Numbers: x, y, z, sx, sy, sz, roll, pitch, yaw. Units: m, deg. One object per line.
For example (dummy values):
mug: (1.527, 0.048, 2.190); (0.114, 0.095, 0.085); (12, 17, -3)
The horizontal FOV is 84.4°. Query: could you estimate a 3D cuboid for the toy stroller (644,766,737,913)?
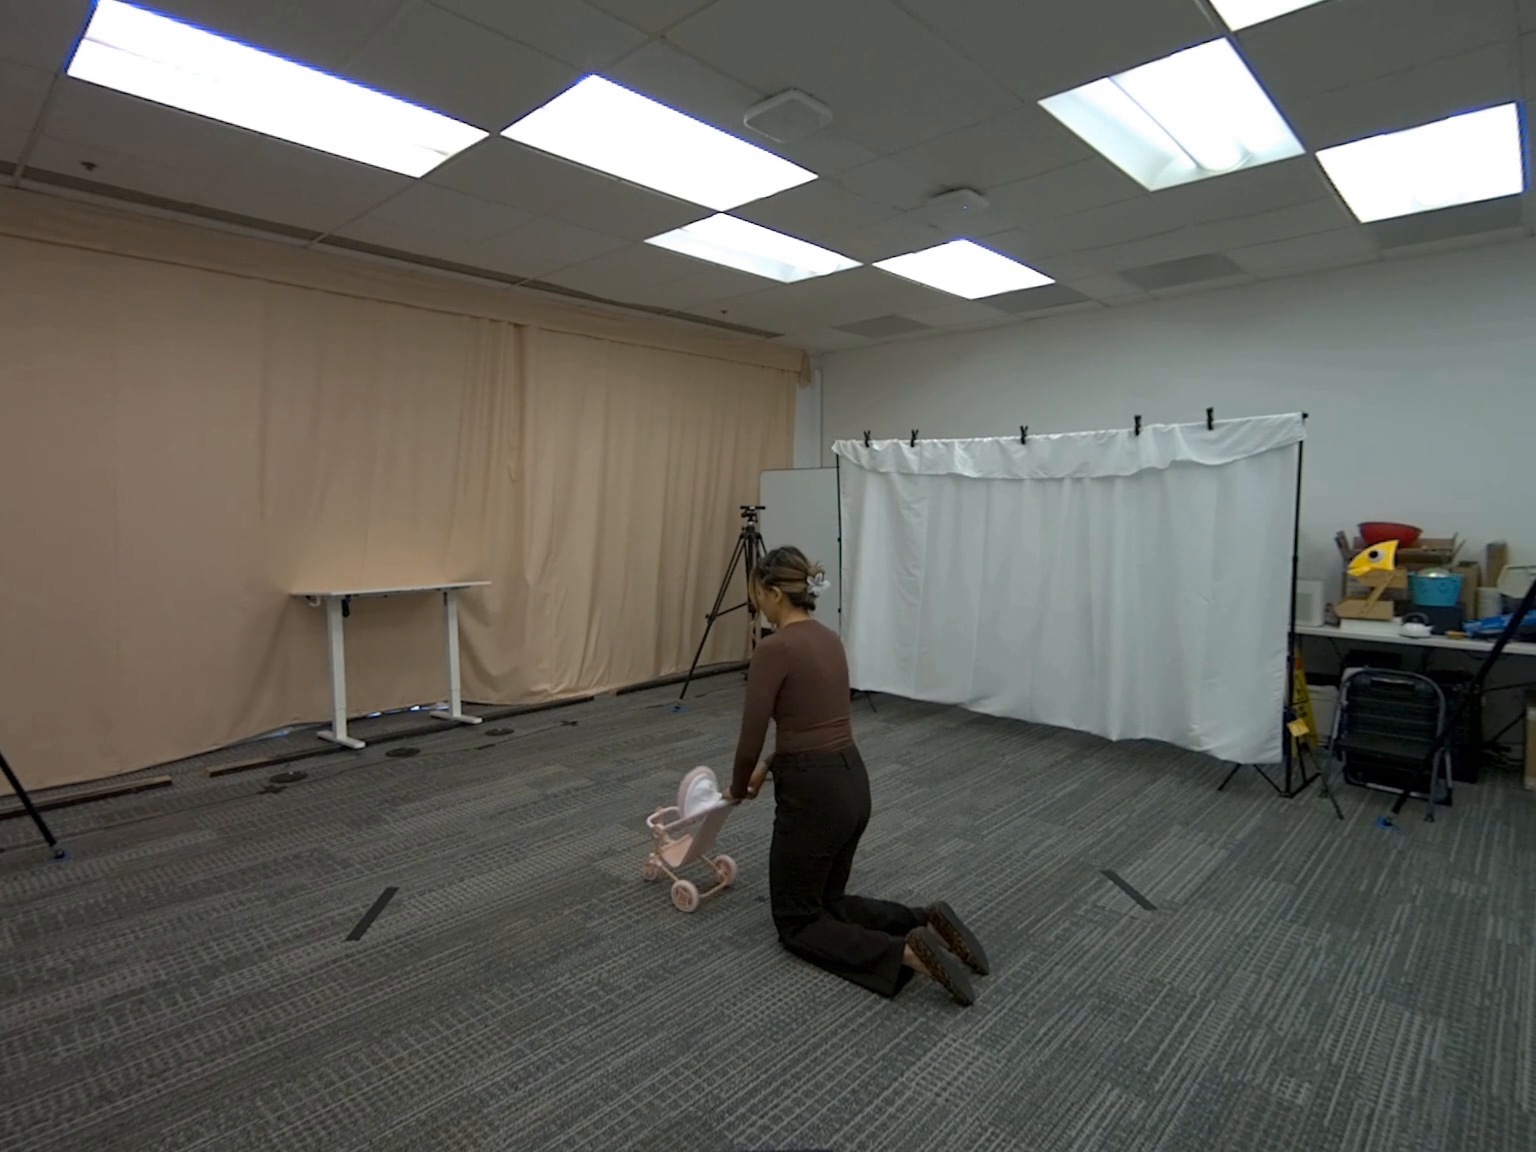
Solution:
toy stroller: (-0.271, 0.918, 3.021); (0.353, 0.532, 0.273); (23, 15, 35)
